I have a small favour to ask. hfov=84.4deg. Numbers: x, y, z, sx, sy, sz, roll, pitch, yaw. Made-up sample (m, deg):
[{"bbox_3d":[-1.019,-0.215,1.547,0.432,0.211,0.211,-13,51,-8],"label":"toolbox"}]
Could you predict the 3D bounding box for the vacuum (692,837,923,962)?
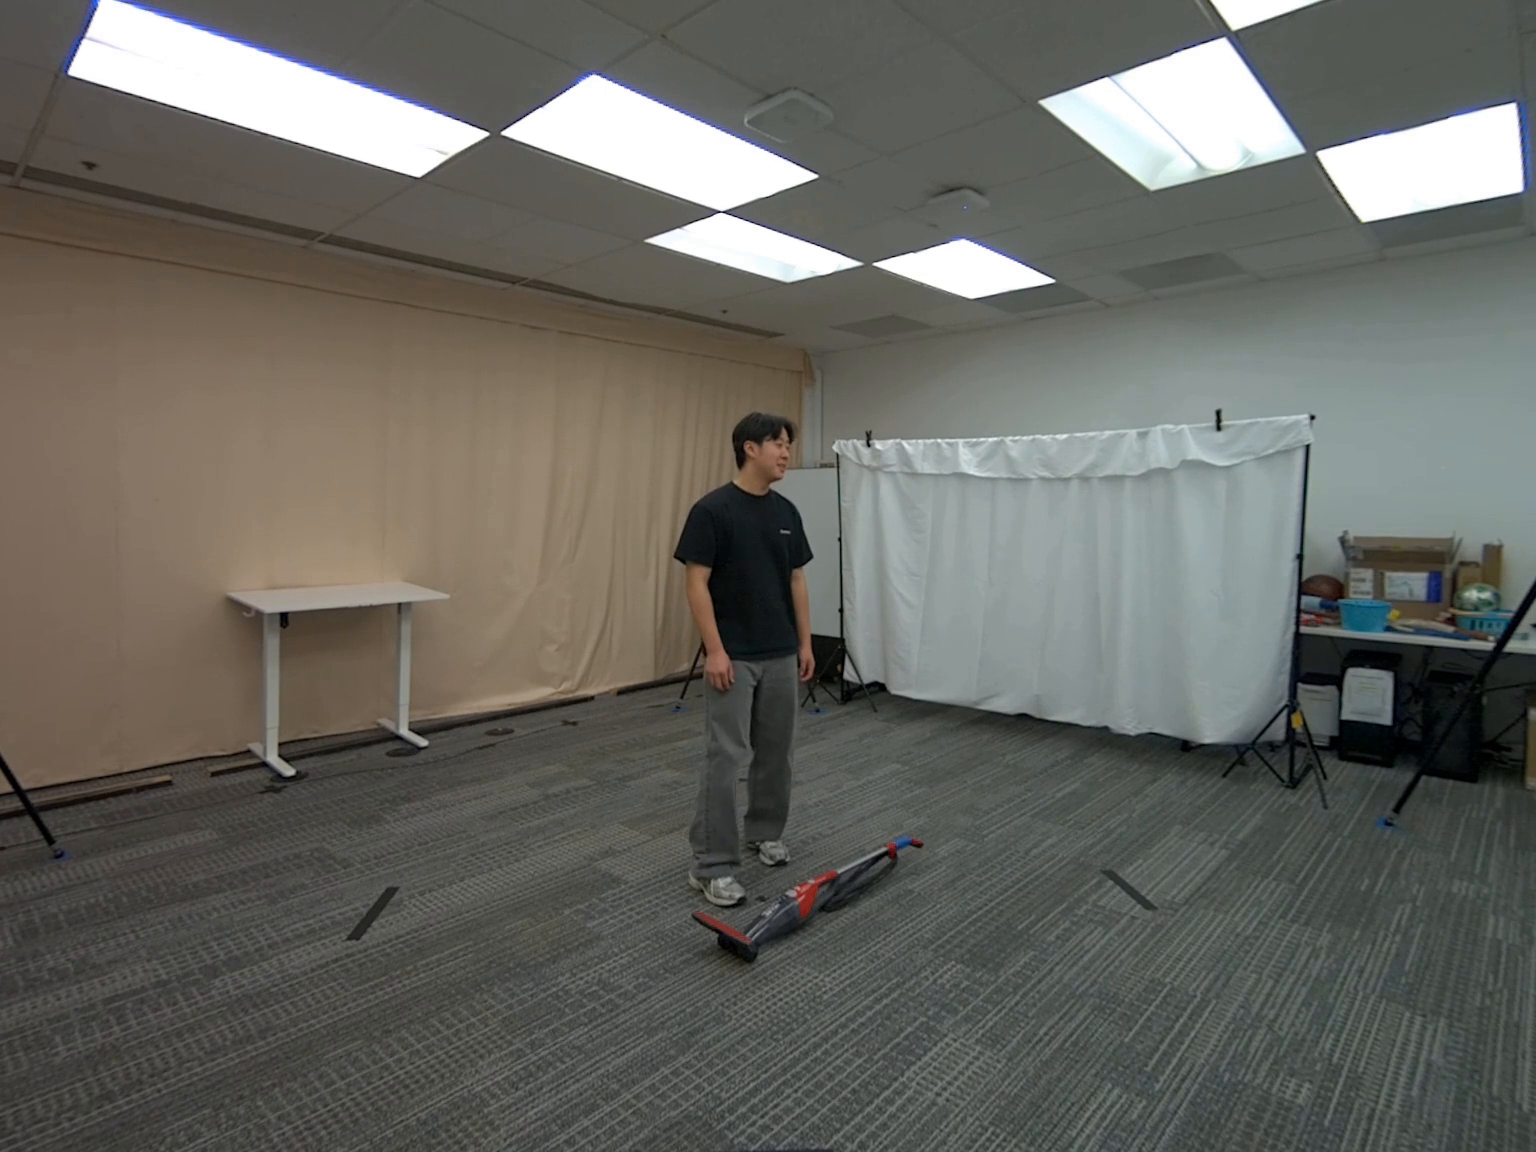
[{"bbox_3d":[0.244,1.085,2.935,1.017,0.144,0.261,-5,4,-44],"label":"vacuum"}]
